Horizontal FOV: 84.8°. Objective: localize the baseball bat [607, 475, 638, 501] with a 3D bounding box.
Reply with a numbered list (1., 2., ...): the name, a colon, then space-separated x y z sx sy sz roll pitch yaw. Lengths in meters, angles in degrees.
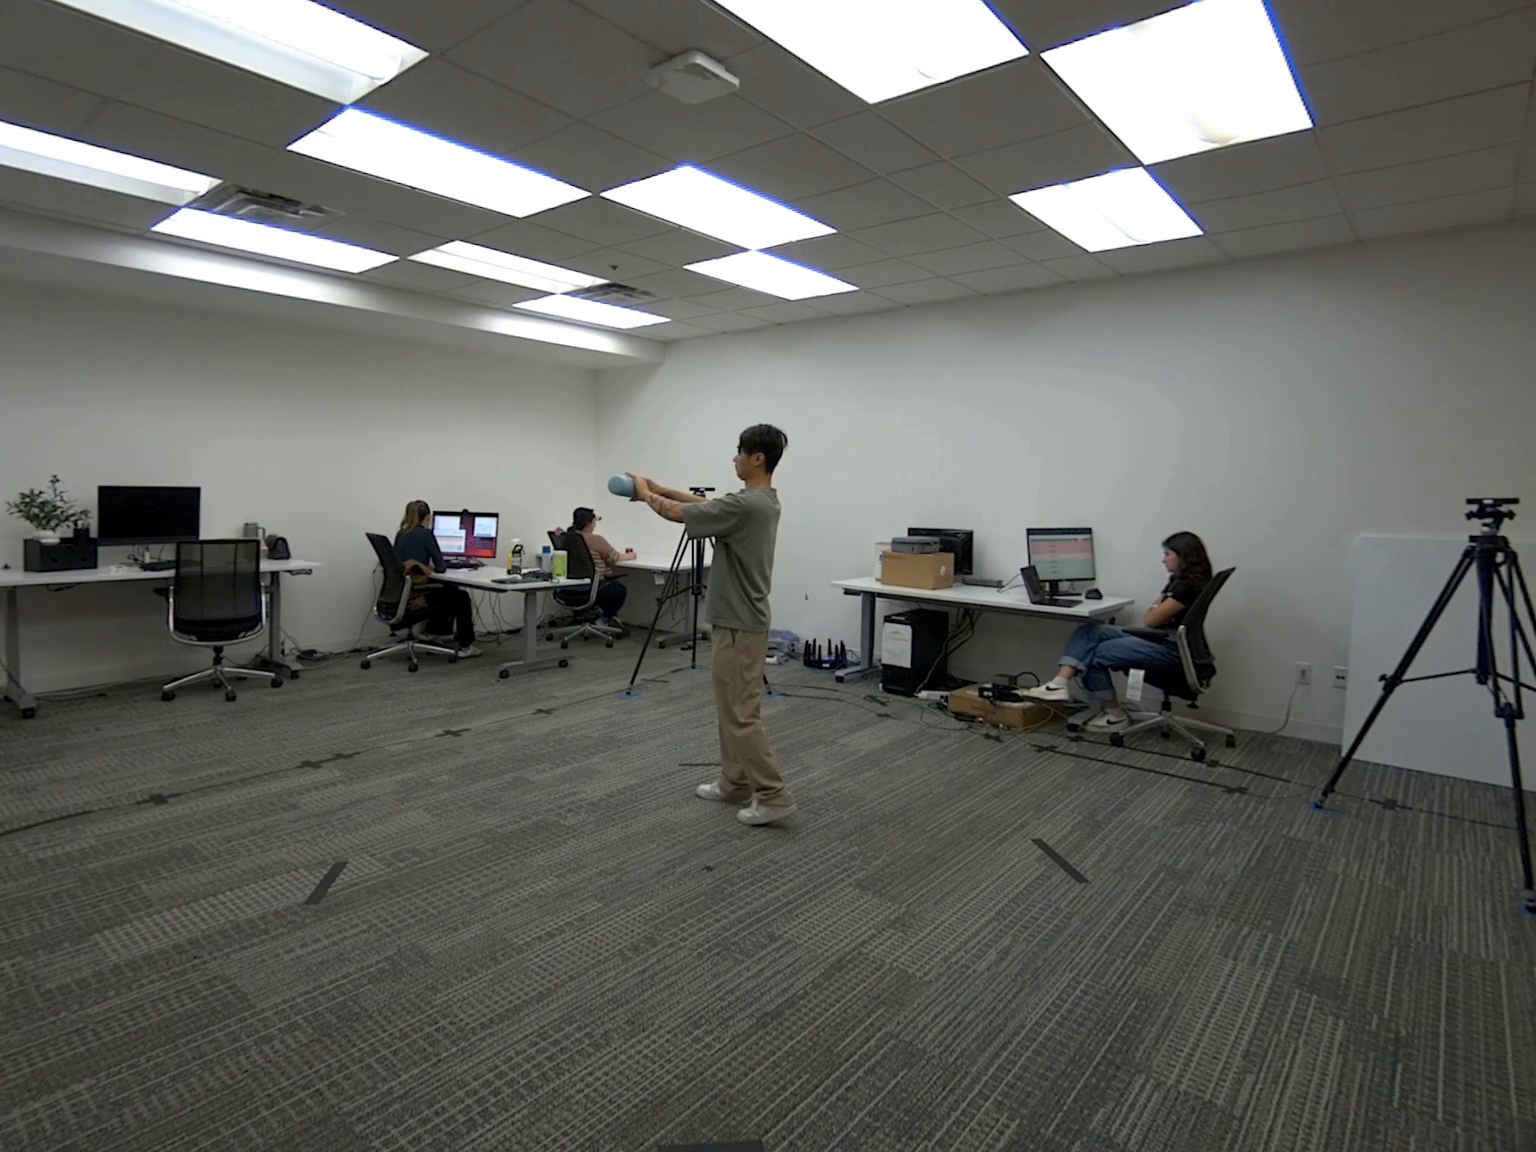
1. baseball bat: -0.580 -0.393 3.887 0.091 0.089 0.530 2 -1 19
